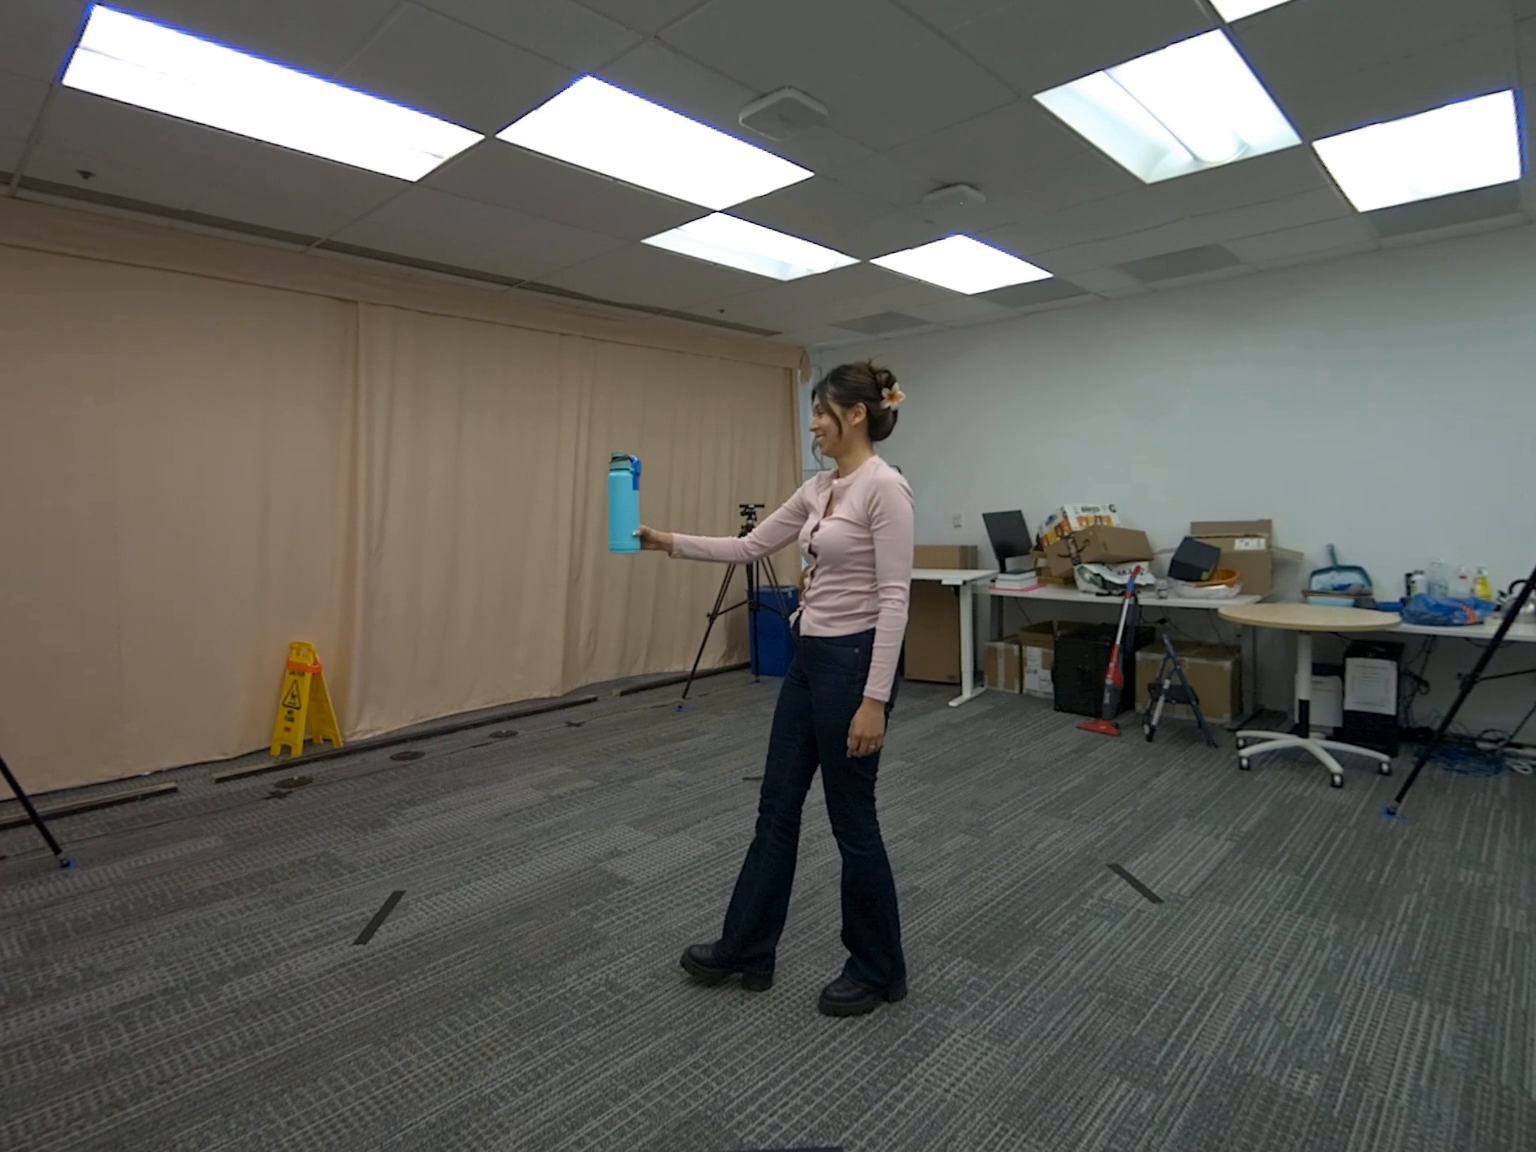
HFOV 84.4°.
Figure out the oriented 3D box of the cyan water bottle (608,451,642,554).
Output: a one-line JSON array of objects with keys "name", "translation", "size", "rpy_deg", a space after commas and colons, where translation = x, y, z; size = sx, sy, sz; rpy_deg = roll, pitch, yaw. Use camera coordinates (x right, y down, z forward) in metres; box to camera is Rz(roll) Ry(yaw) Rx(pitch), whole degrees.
[{"name": "cyan water bottle", "translation": [-0.403, -0.212, 2.357], "size": [0.092, 0.283, 0.092], "rpy_deg": [2, 1, -2]}]
